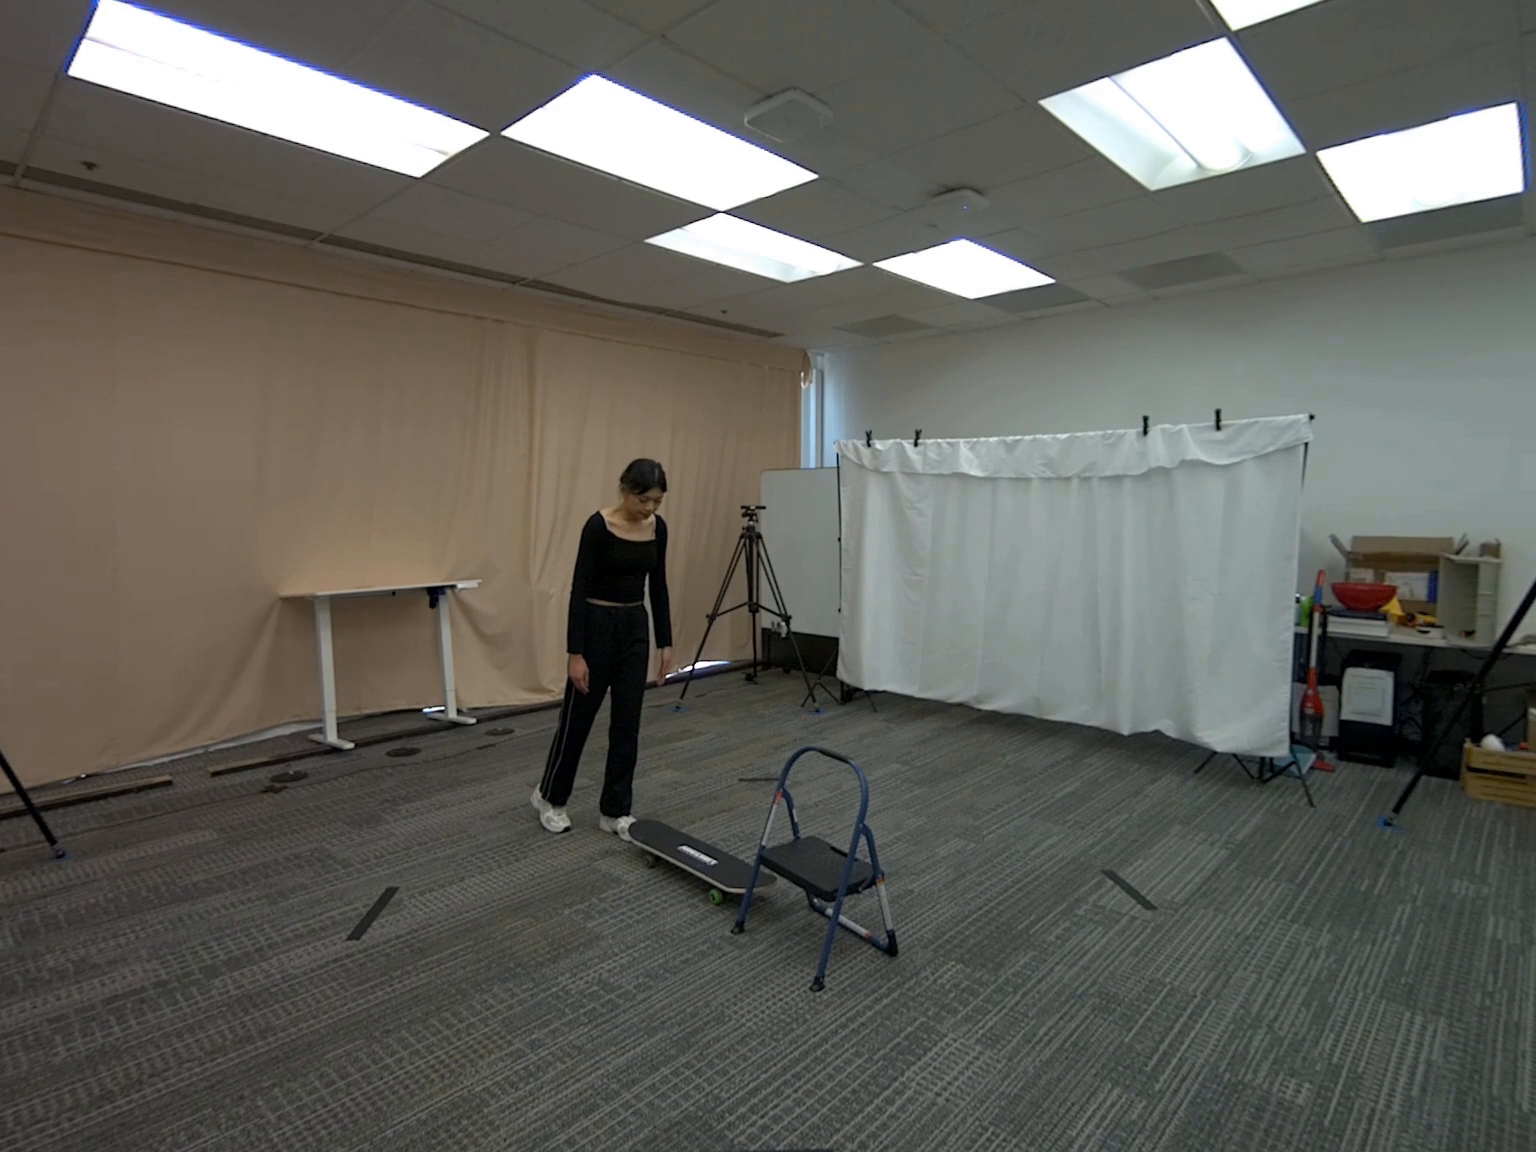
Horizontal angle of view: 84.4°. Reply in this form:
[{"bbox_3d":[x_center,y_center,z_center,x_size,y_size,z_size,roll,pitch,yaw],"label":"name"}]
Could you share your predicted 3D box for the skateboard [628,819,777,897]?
[{"bbox_3d":[-0.268,1.076,3.148,0.187,0.110,0.812,-3,5,-42],"label":"skateboard"}]
